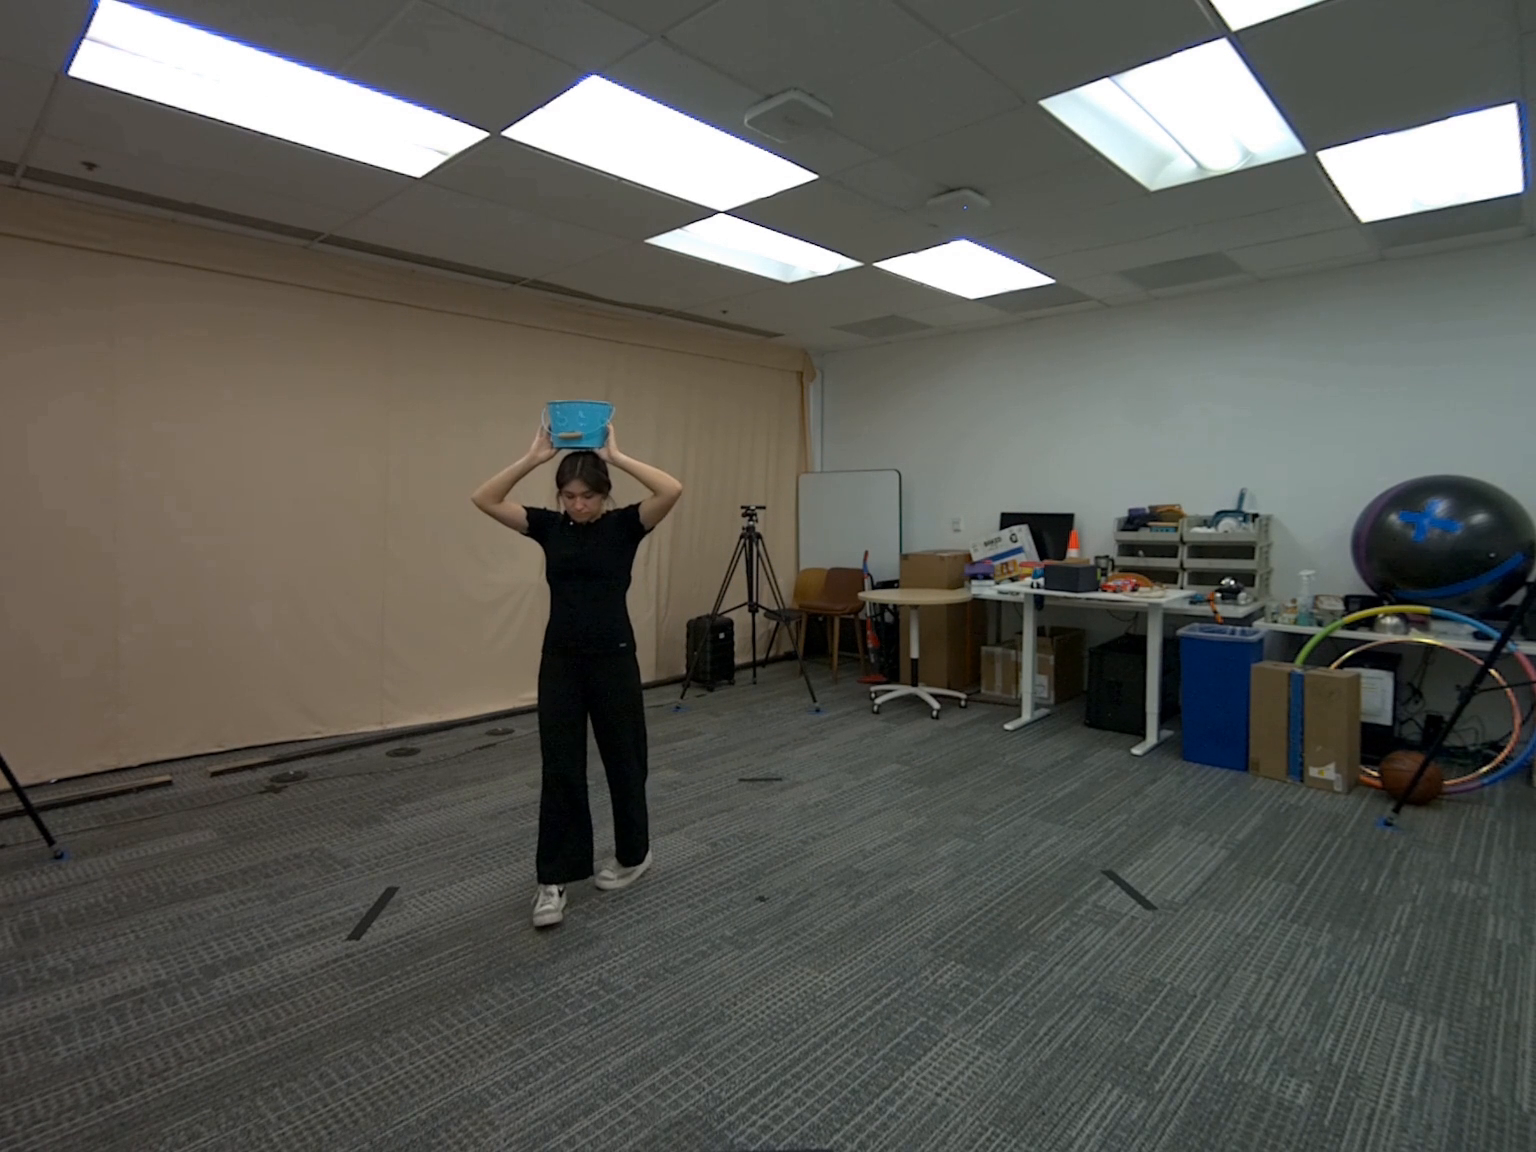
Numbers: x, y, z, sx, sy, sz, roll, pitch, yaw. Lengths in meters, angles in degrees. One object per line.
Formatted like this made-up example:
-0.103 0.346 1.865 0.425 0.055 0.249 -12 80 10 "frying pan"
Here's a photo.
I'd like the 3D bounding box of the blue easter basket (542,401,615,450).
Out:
-0.666 -0.519 2.914 0.243 0.156 0.244 1 2 -2 "blue easter basket"
